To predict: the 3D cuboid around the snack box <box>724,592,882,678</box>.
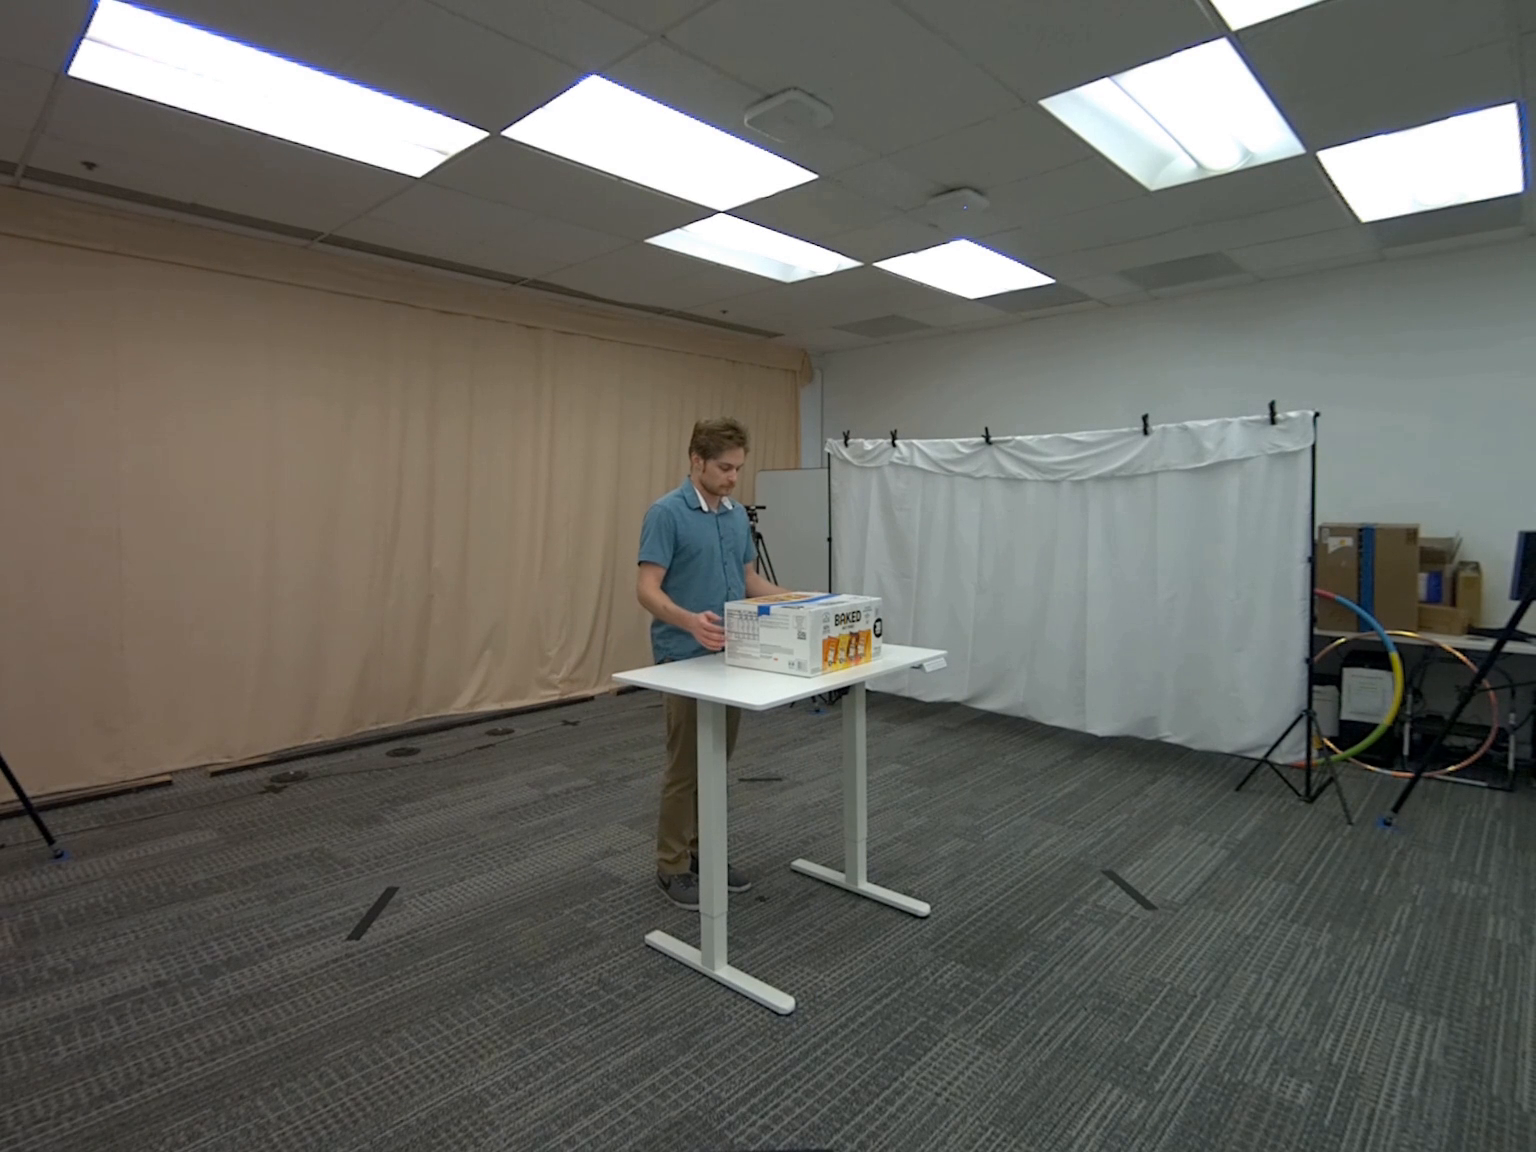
[{"bbox_3d":[0.127,0.179,2.727,0.351,0.205,0.393,2,5,40],"label":"snack box"}]
